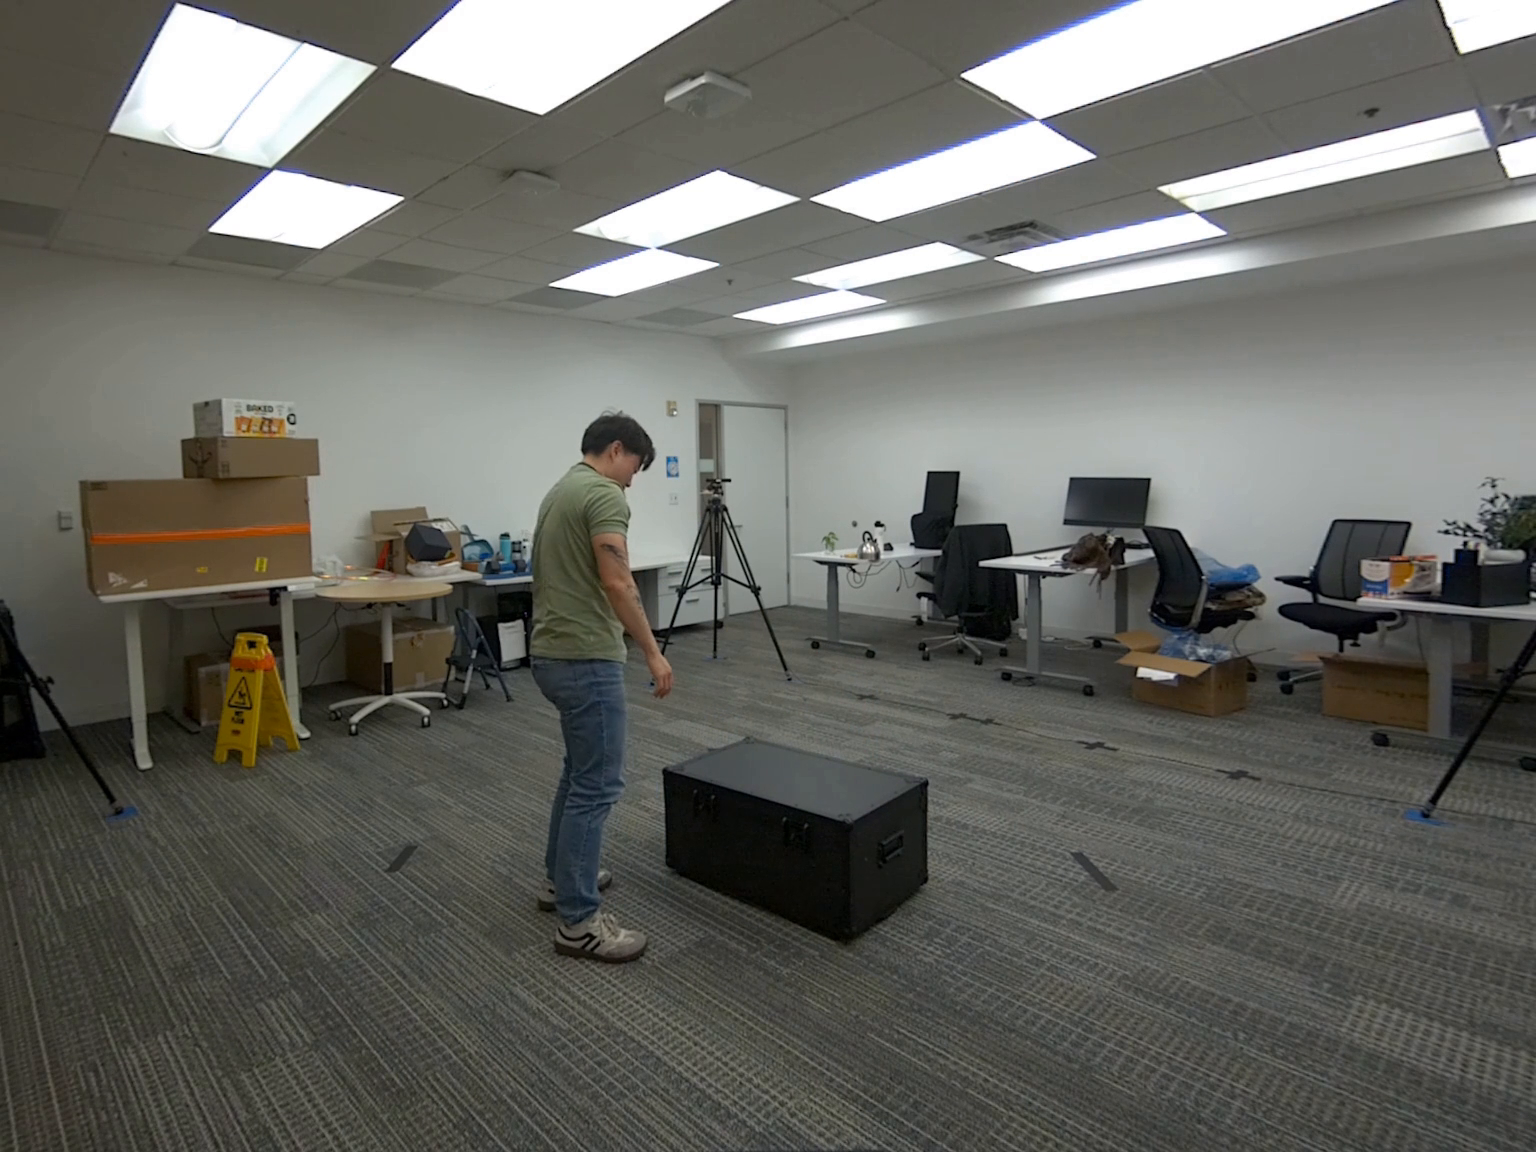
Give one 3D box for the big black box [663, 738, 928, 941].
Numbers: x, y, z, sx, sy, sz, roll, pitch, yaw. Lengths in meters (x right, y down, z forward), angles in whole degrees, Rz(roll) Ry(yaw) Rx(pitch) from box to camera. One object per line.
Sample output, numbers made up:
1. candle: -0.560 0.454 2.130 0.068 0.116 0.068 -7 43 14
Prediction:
1. big black box: 0.063 0.866 2.984 0.888 0.394 0.508 5 8 40
